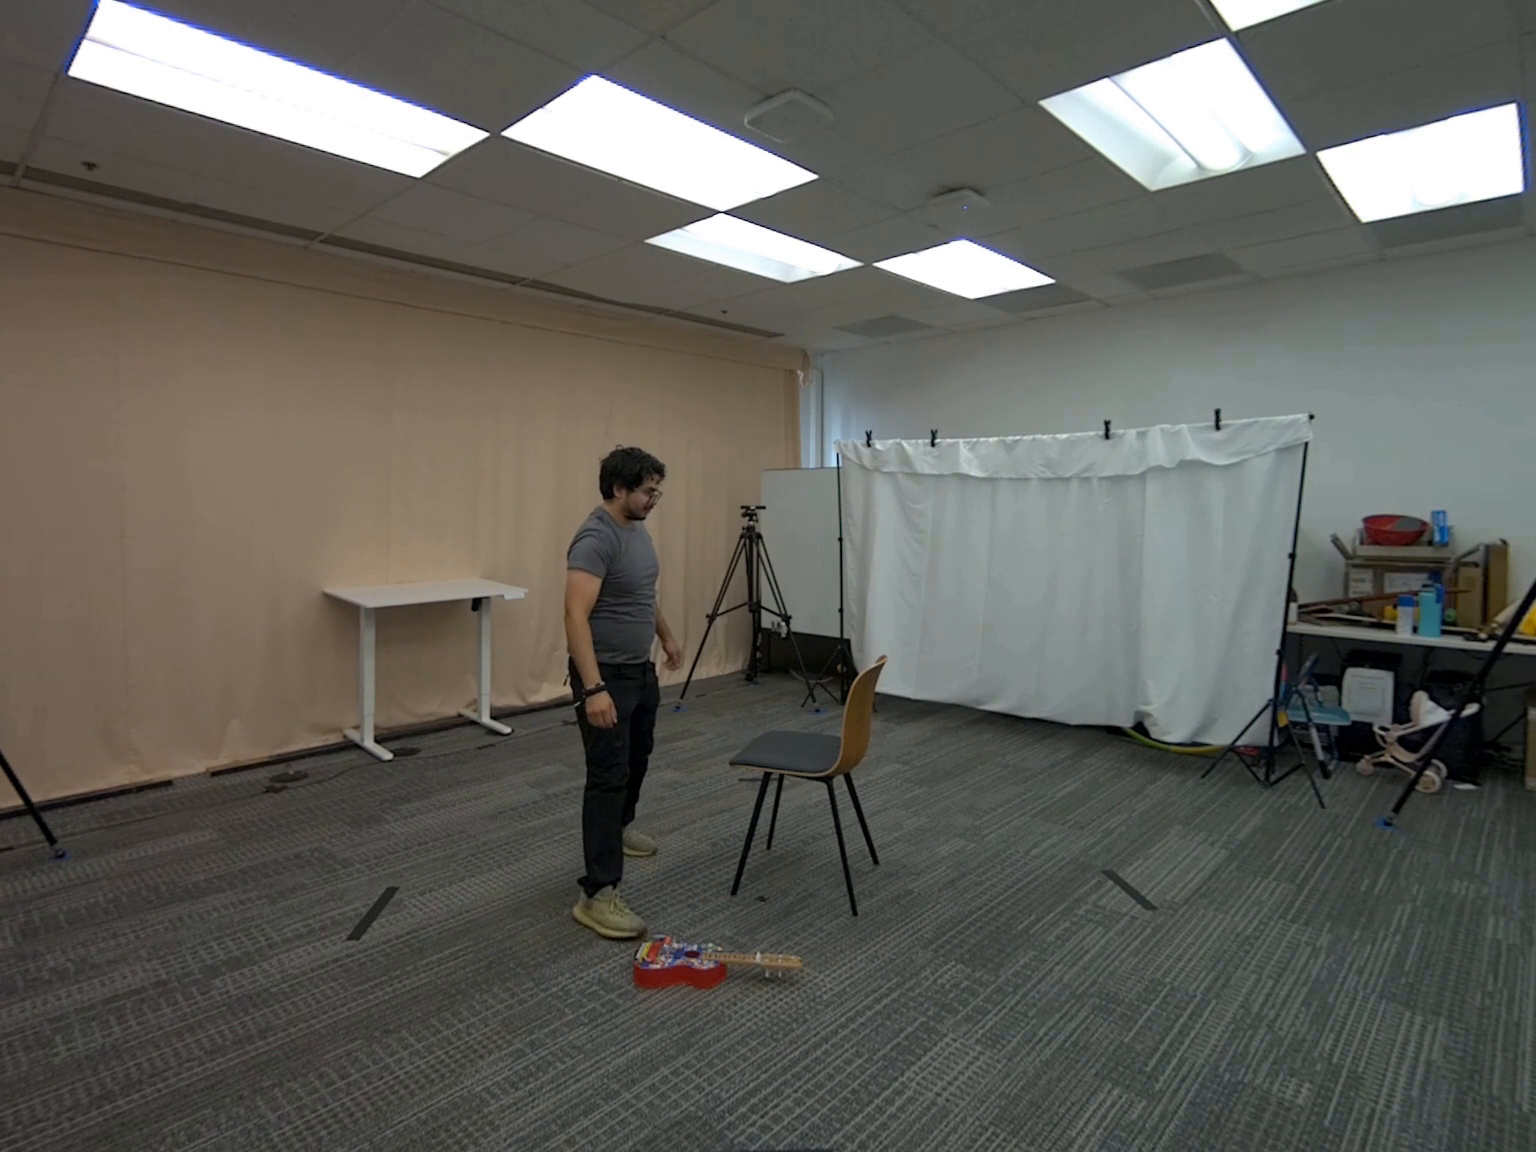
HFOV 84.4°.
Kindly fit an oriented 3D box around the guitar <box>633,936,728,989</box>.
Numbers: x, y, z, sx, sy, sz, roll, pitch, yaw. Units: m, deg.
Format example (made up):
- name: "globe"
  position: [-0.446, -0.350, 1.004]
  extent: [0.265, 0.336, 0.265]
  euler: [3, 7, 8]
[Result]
- name: "guitar"
  position: [-0.157, 1.156, 2.463]
  extent: [0.507, 0.070, 0.190]
  euler: [1, 4, 17]
